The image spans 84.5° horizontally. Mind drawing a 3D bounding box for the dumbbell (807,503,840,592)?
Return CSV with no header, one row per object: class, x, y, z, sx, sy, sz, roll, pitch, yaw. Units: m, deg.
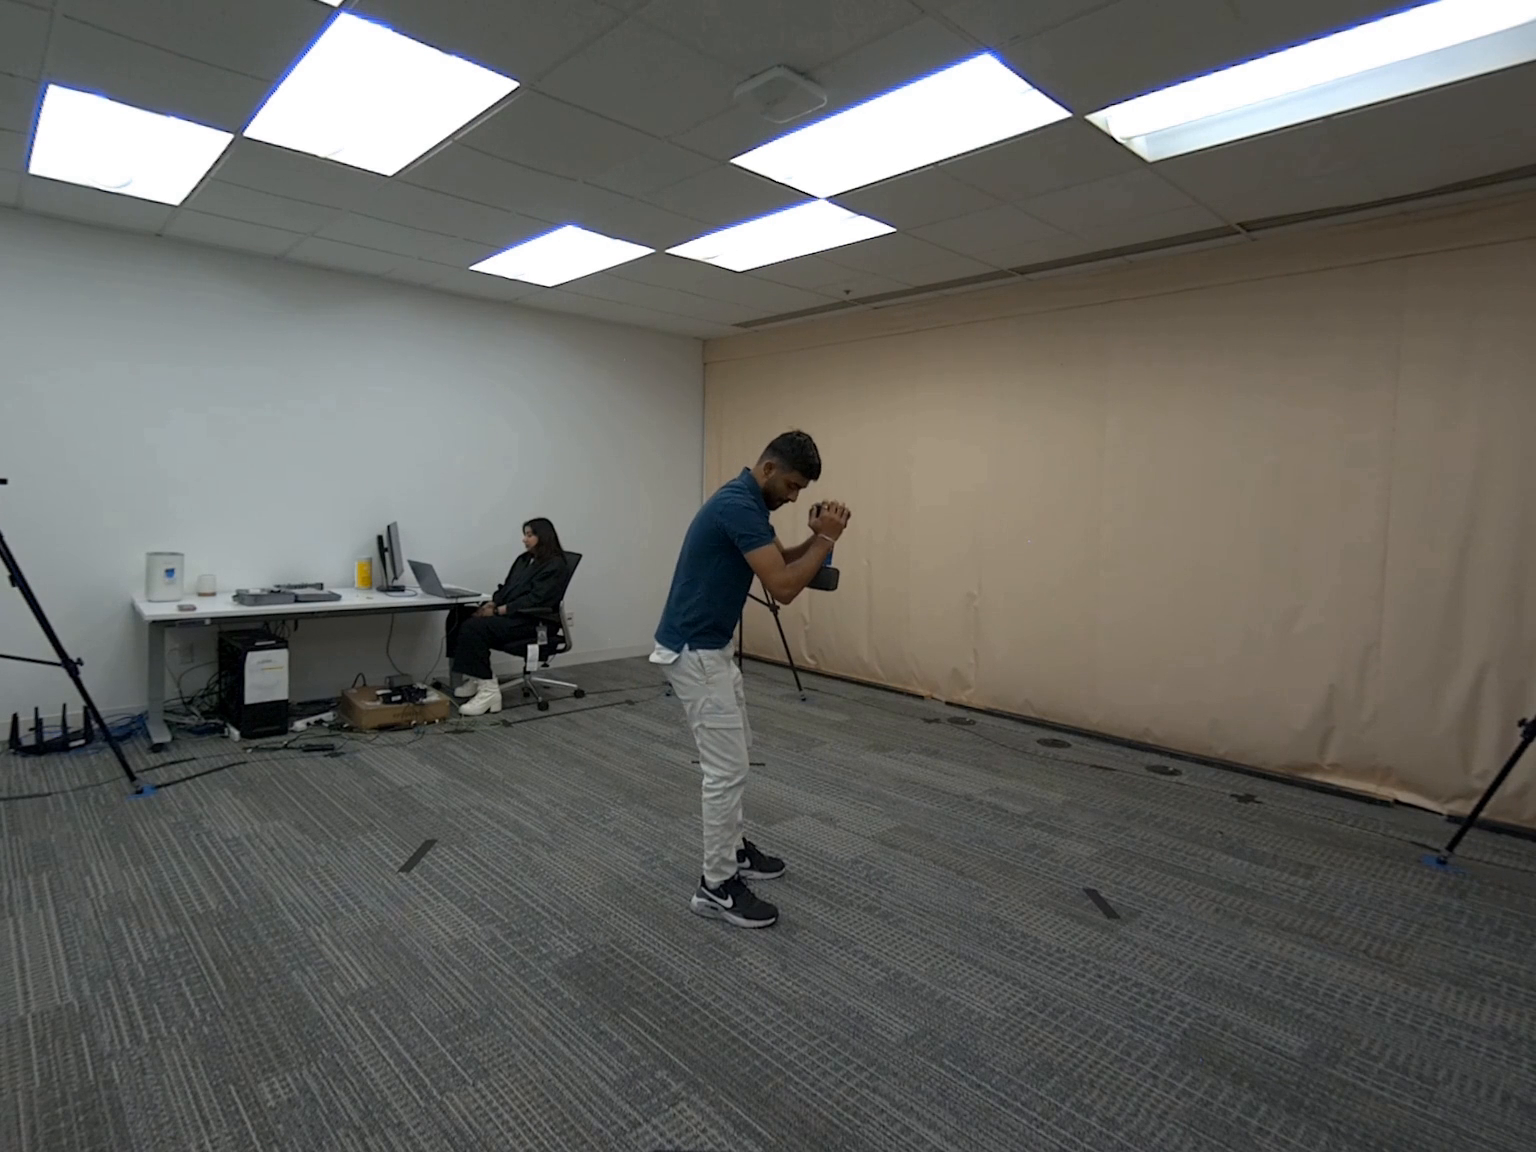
dumbbell,0.188,-0.092,2.860,0.122,0.293,0.109,6,1,-6
